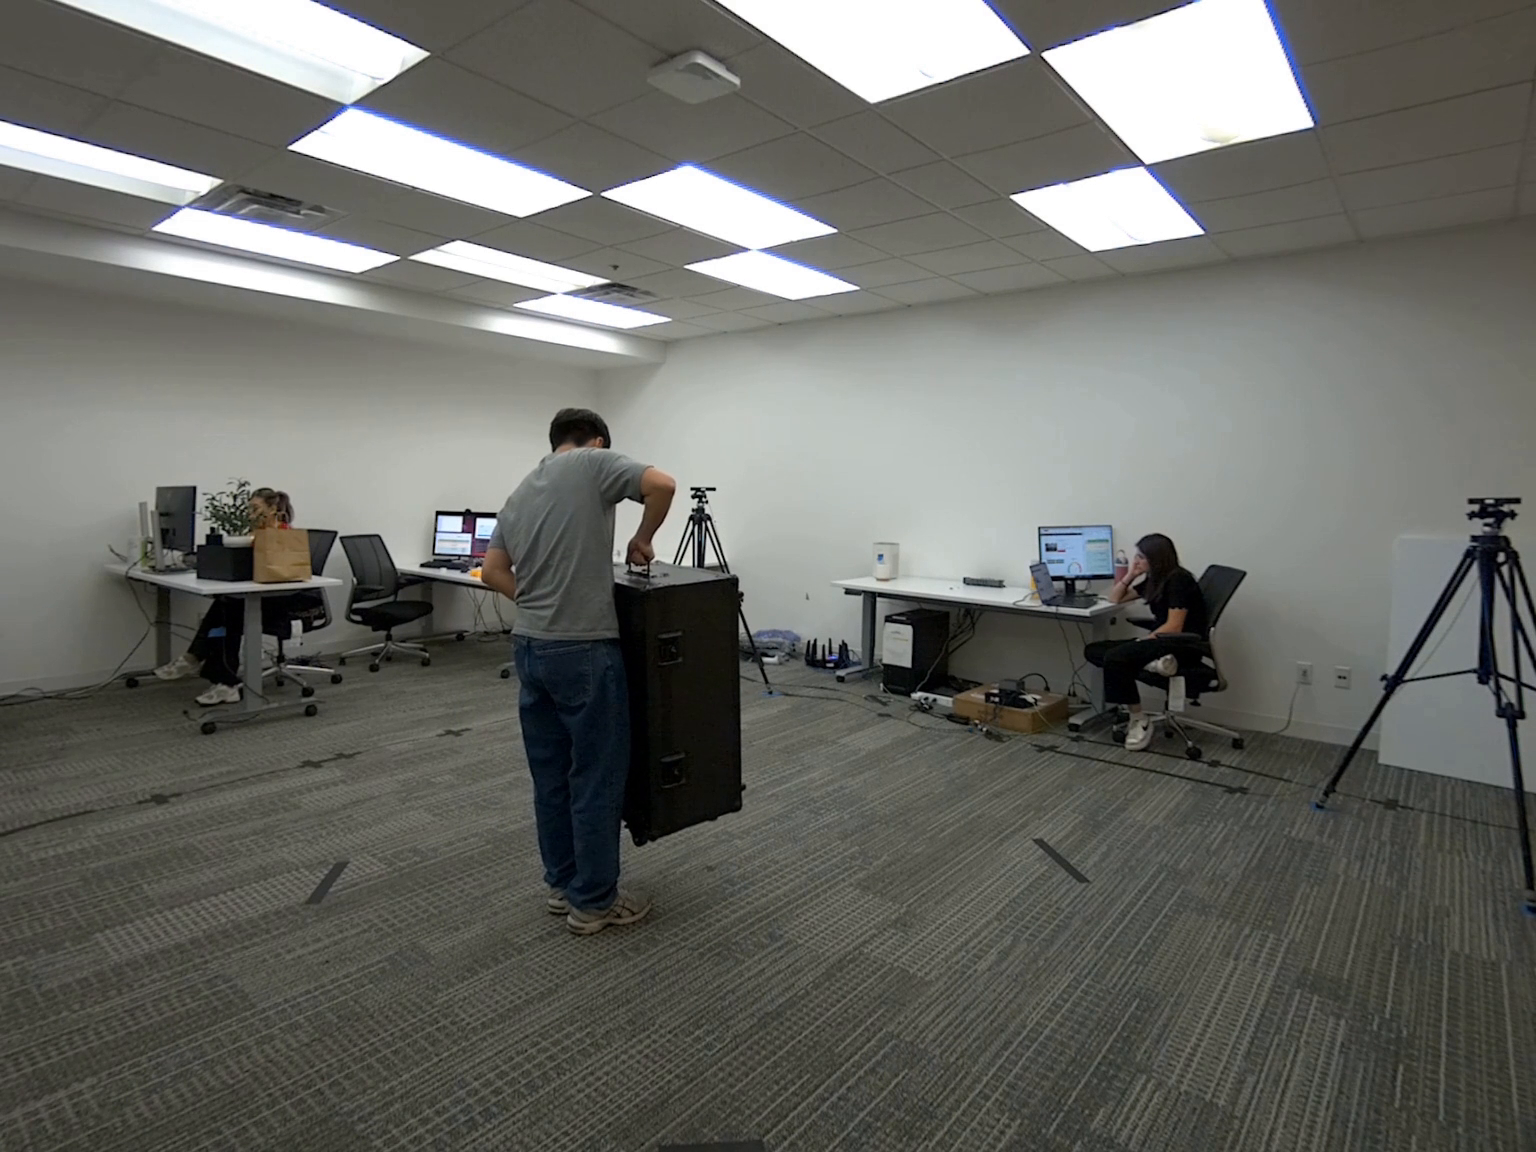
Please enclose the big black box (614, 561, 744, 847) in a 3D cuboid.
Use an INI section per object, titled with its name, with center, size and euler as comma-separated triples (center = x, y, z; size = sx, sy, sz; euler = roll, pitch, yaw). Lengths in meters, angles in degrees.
[big black box]
center = -0.374, 0.350, 2.856
size = 0.385, 0.856, 0.539
euler = -6, 8, -38
